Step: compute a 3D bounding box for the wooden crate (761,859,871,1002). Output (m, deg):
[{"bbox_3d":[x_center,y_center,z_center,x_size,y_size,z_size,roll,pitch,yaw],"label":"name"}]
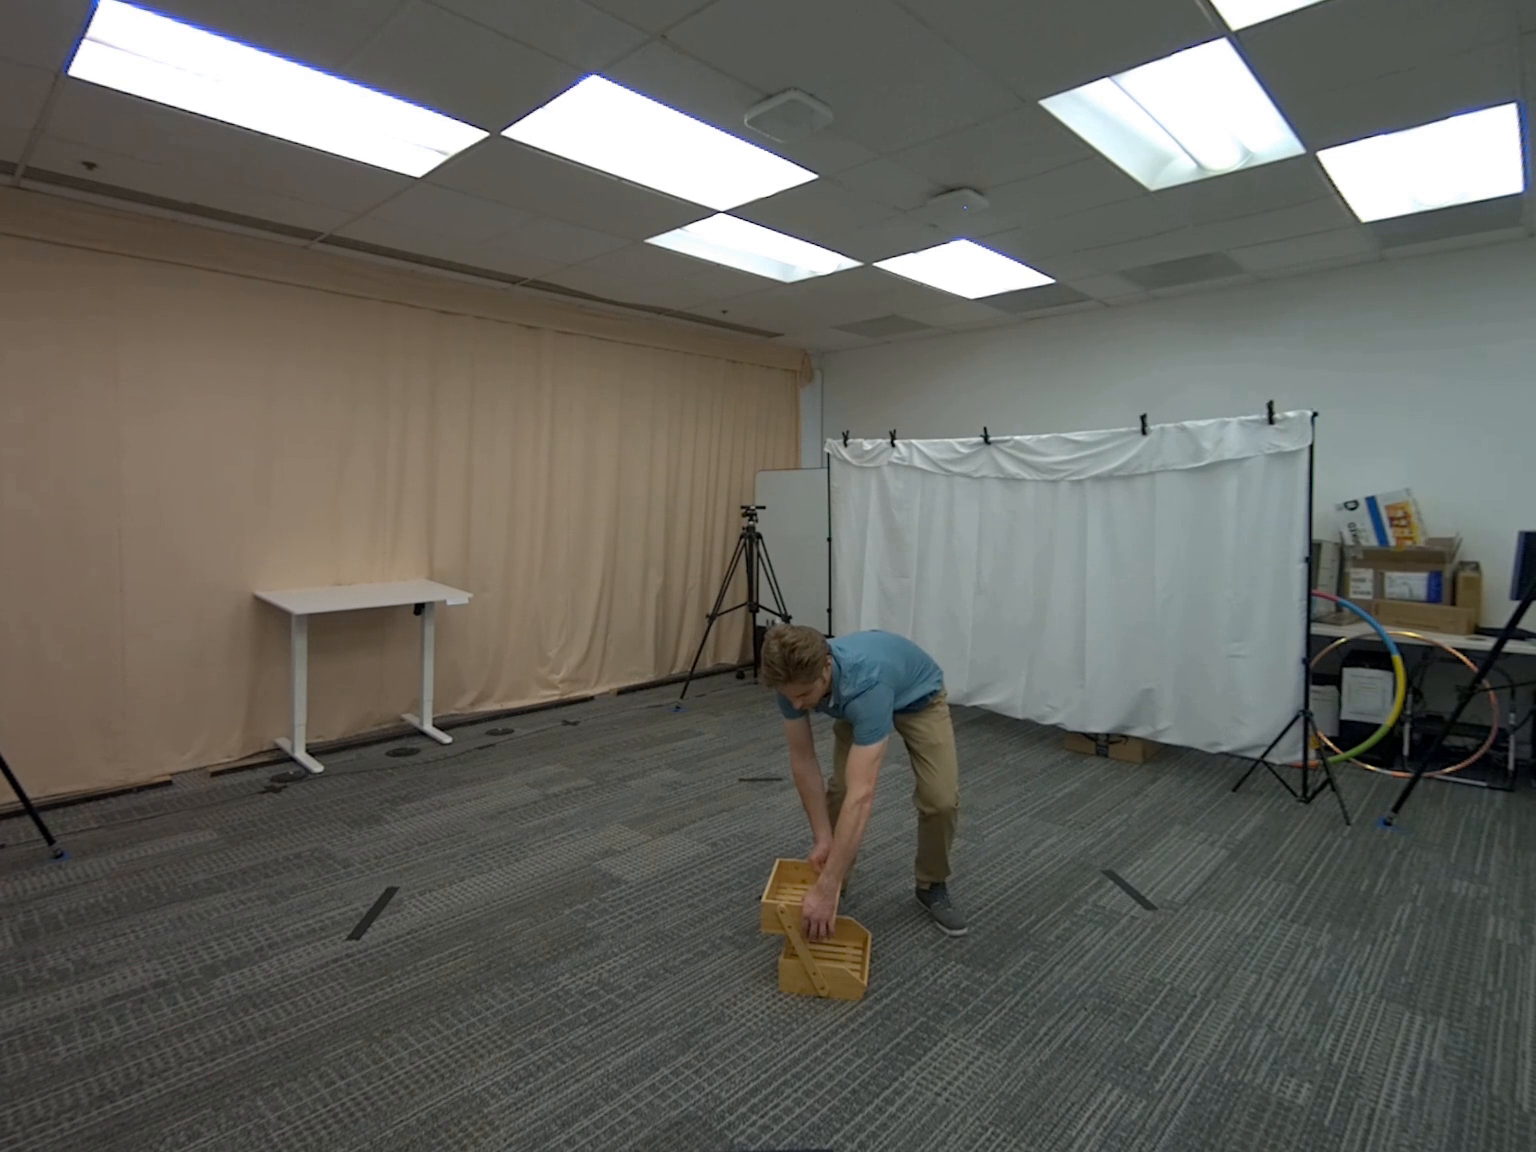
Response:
[{"bbox_3d":[0.162,1.050,2.529,0.306,0.273,0.321,1,4,11],"label":"wooden crate"}]
